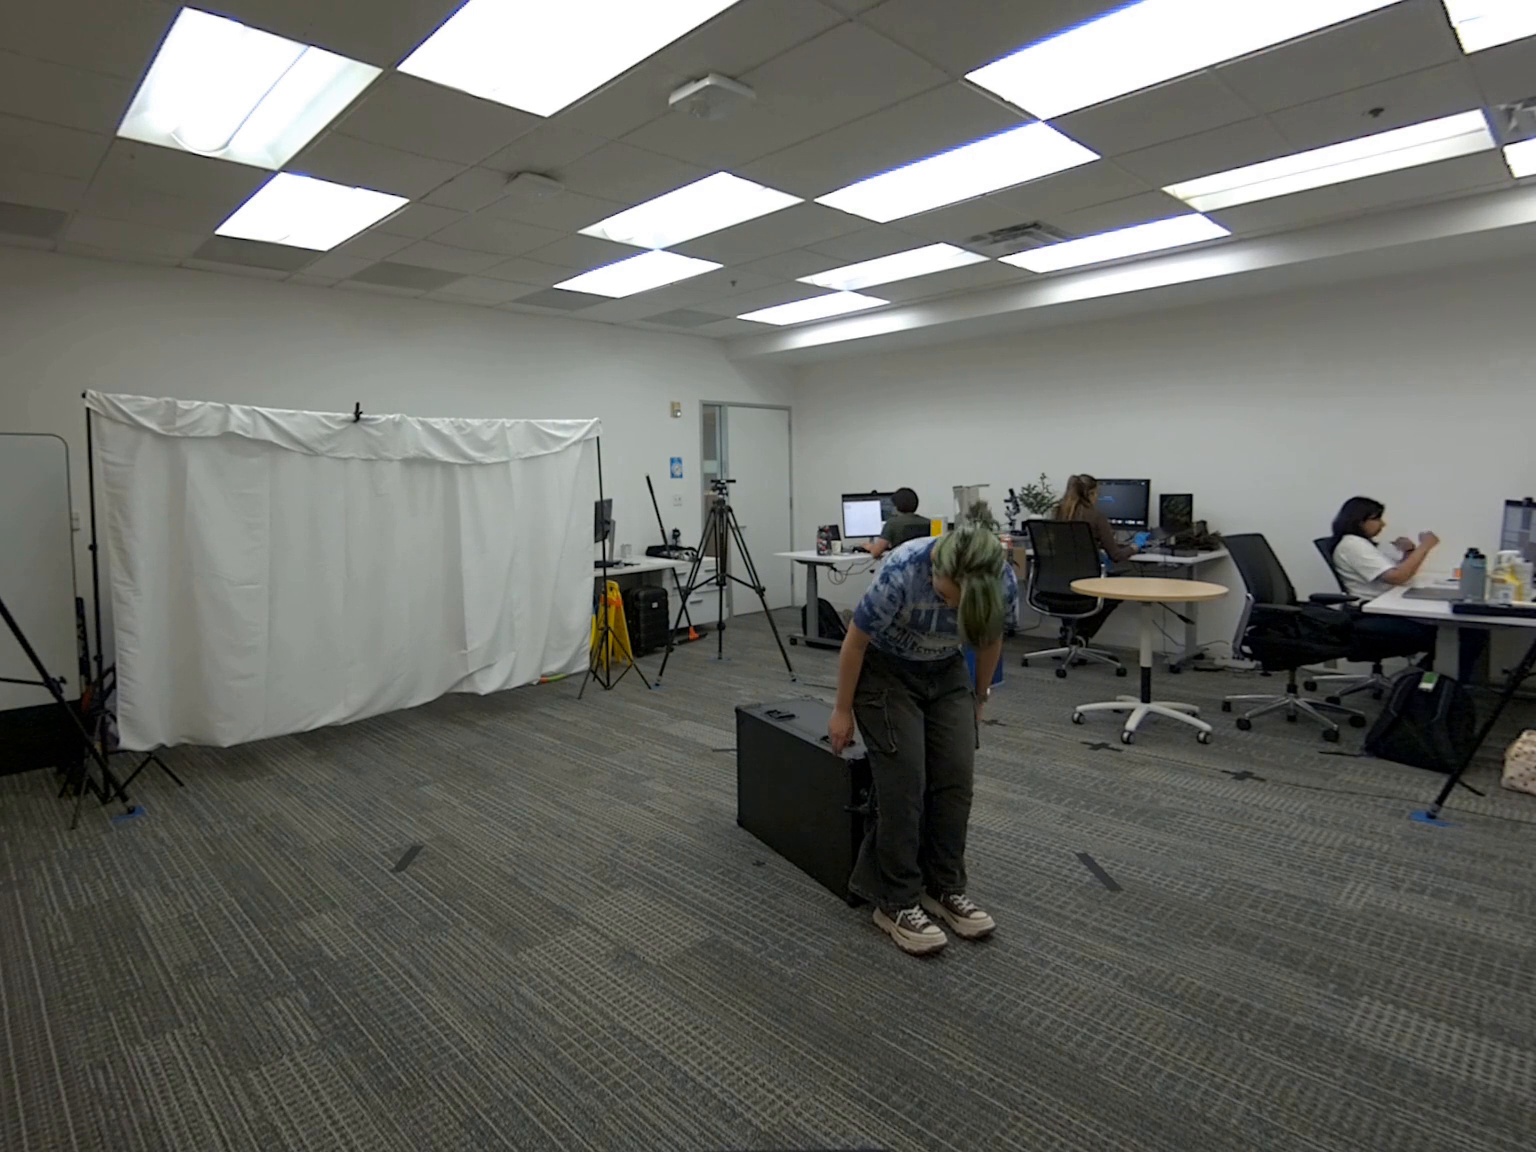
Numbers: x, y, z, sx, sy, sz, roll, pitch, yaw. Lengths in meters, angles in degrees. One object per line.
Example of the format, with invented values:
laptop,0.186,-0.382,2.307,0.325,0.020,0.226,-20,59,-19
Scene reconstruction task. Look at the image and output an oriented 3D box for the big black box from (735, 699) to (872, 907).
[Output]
big black box,0.246,0.793,3.166,0.387,0.519,0.885,-4,7,-28
